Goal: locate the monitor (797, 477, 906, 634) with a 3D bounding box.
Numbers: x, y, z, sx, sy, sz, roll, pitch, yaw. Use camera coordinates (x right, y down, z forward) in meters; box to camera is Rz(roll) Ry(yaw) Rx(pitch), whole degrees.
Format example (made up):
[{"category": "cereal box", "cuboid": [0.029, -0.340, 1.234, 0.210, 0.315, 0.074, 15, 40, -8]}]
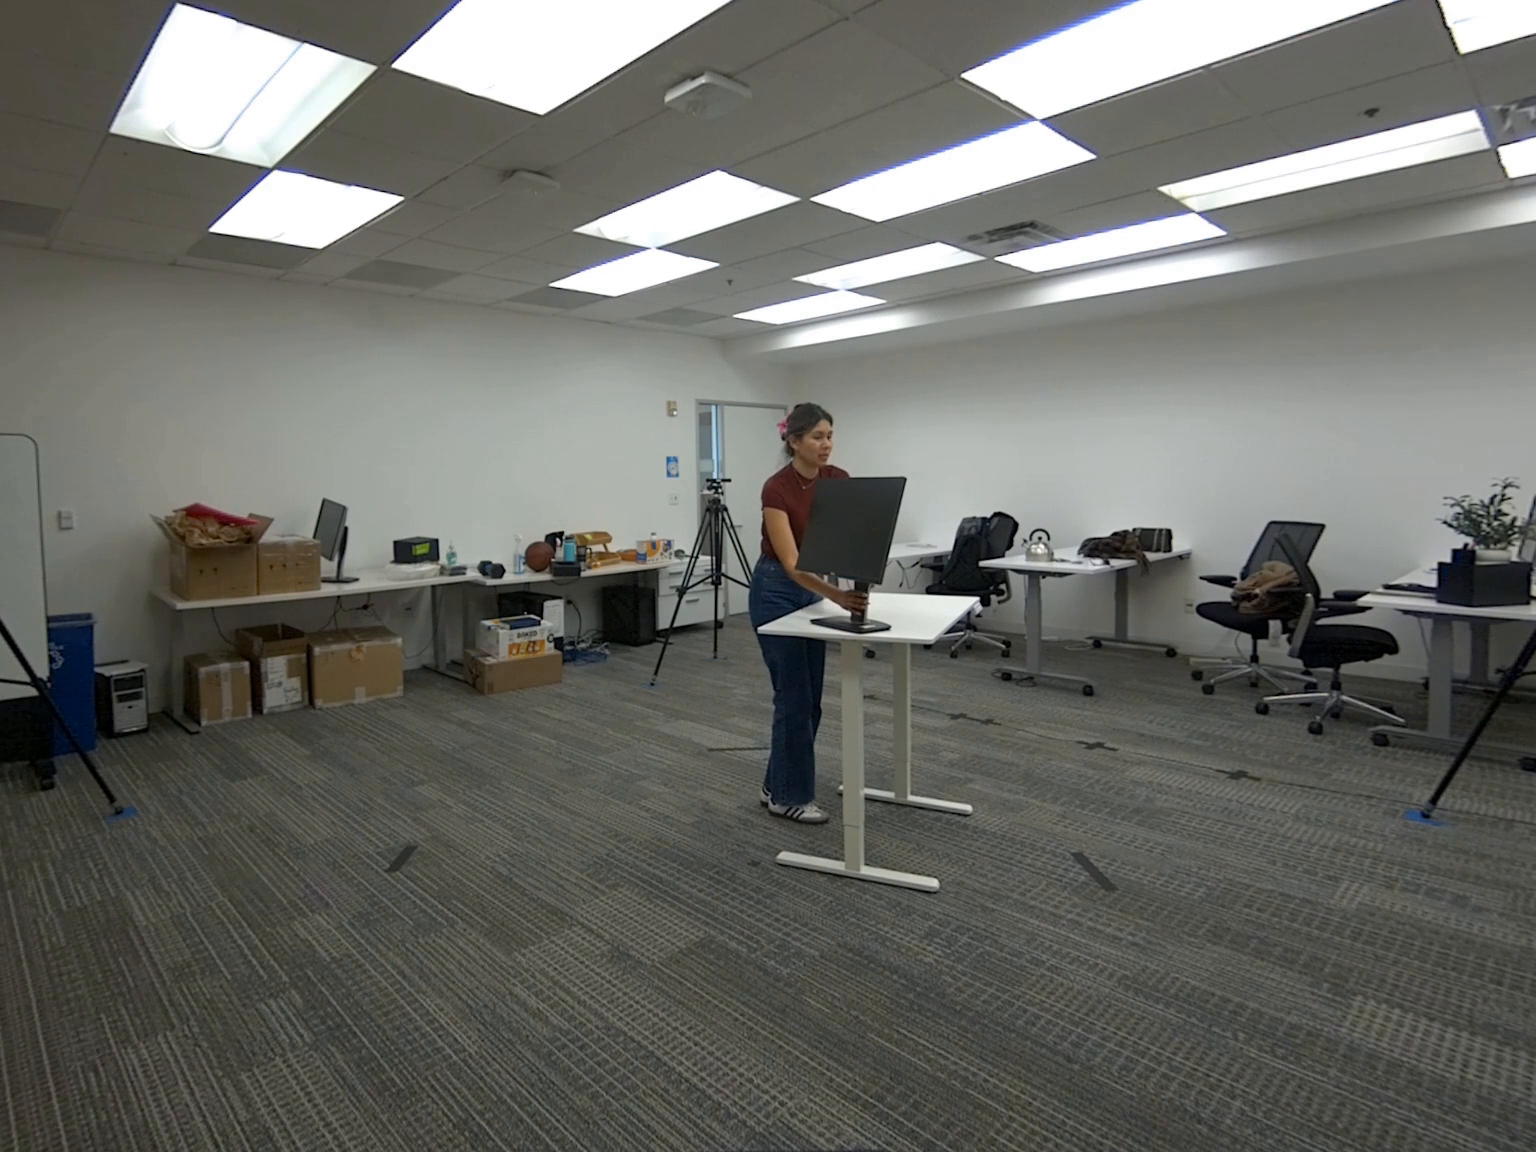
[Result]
[{"category": "monitor", "cuboid": [0.290, -0.077, 2.947, 0.183, 0.521, 0.553, 1, 3, -28]}]
